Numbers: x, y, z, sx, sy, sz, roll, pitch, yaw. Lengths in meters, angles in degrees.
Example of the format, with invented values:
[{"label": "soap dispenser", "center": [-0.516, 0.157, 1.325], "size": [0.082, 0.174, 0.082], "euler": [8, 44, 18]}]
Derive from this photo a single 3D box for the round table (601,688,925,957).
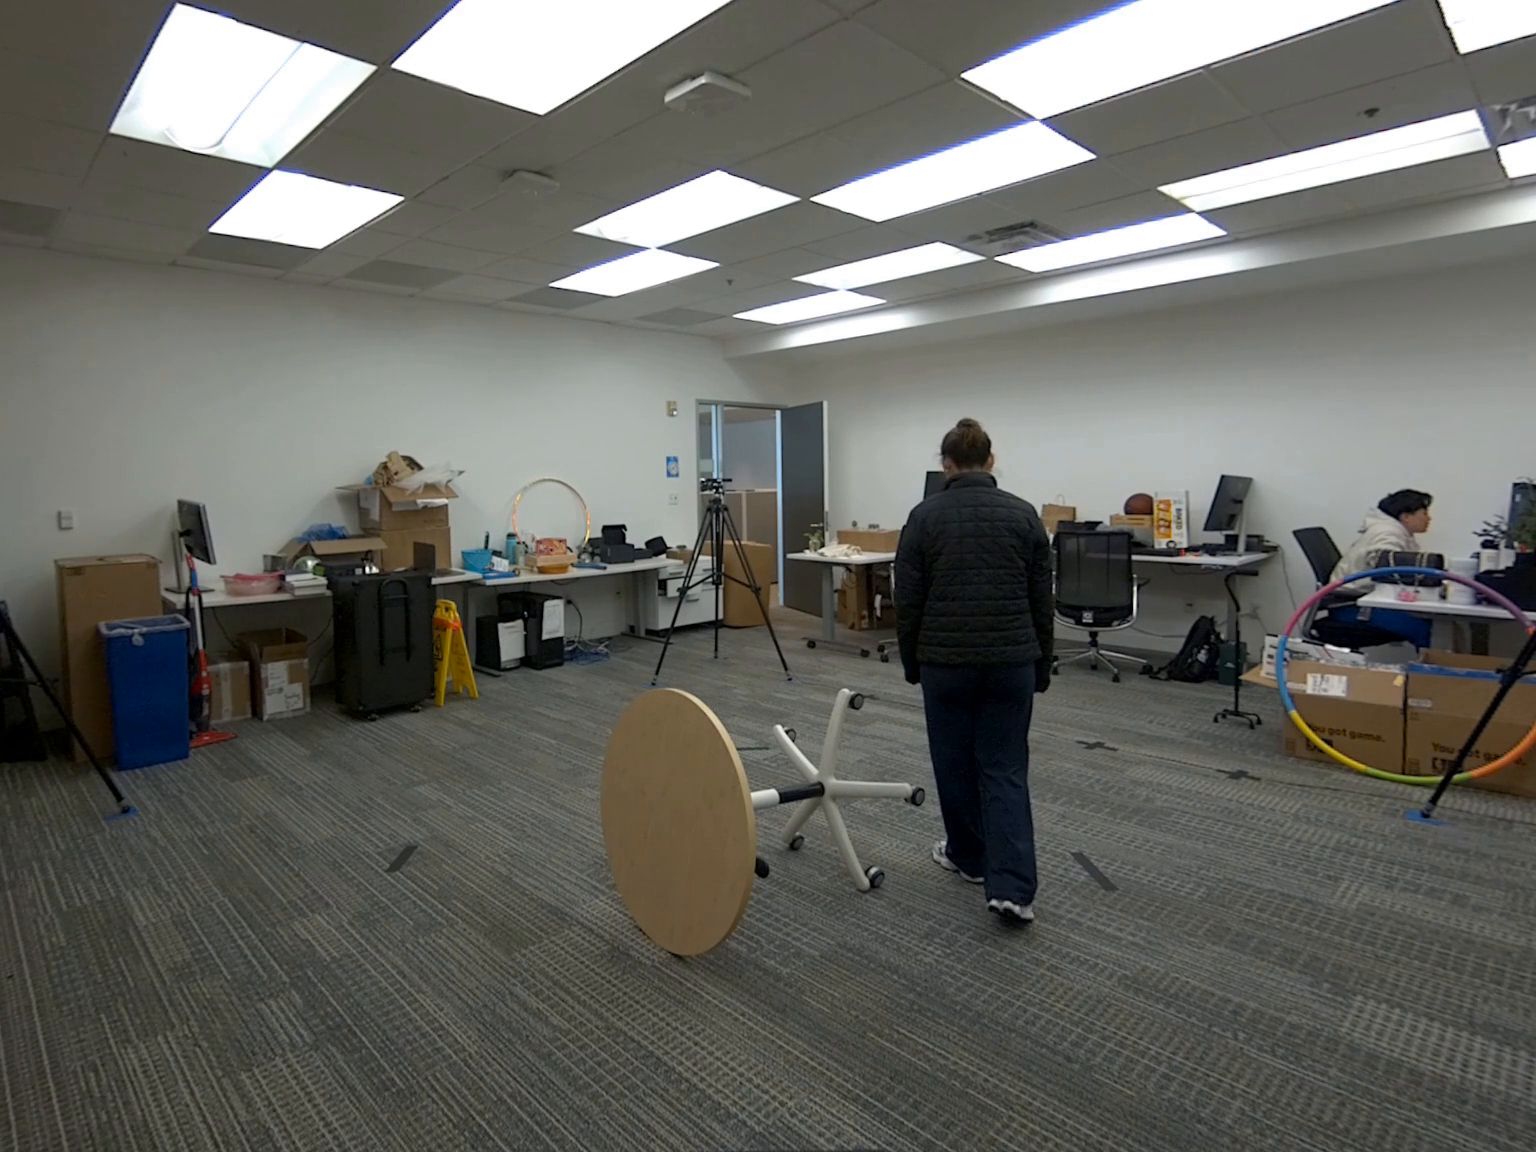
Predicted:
[{"label": "round table", "center": [-0.006, 0.738, 2.831], "size": [0.763, 0.785, 0.809], "euler": [3, 1, -41]}]
